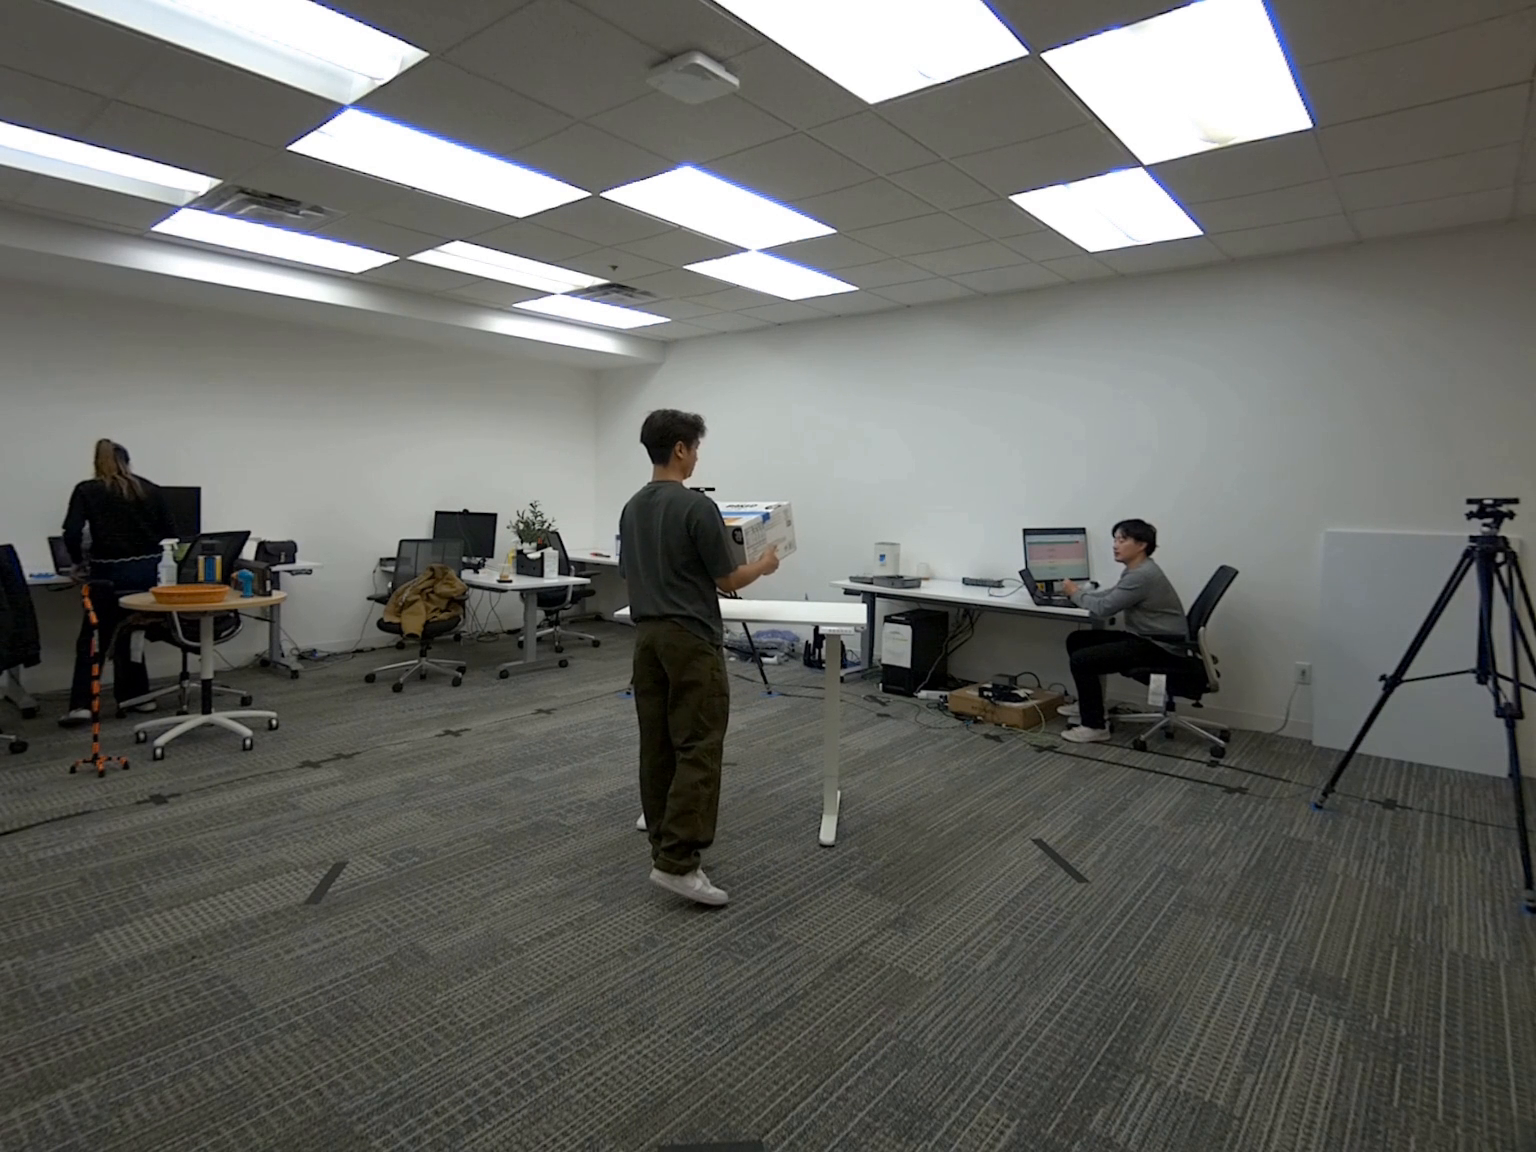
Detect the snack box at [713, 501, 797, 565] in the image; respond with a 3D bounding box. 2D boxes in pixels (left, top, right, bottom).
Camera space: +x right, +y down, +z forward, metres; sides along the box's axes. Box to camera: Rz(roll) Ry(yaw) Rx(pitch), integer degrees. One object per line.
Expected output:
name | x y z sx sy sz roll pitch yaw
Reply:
snack box | -0.163 -0.156 3.365 0.418 0.202 0.335 3 20 36
